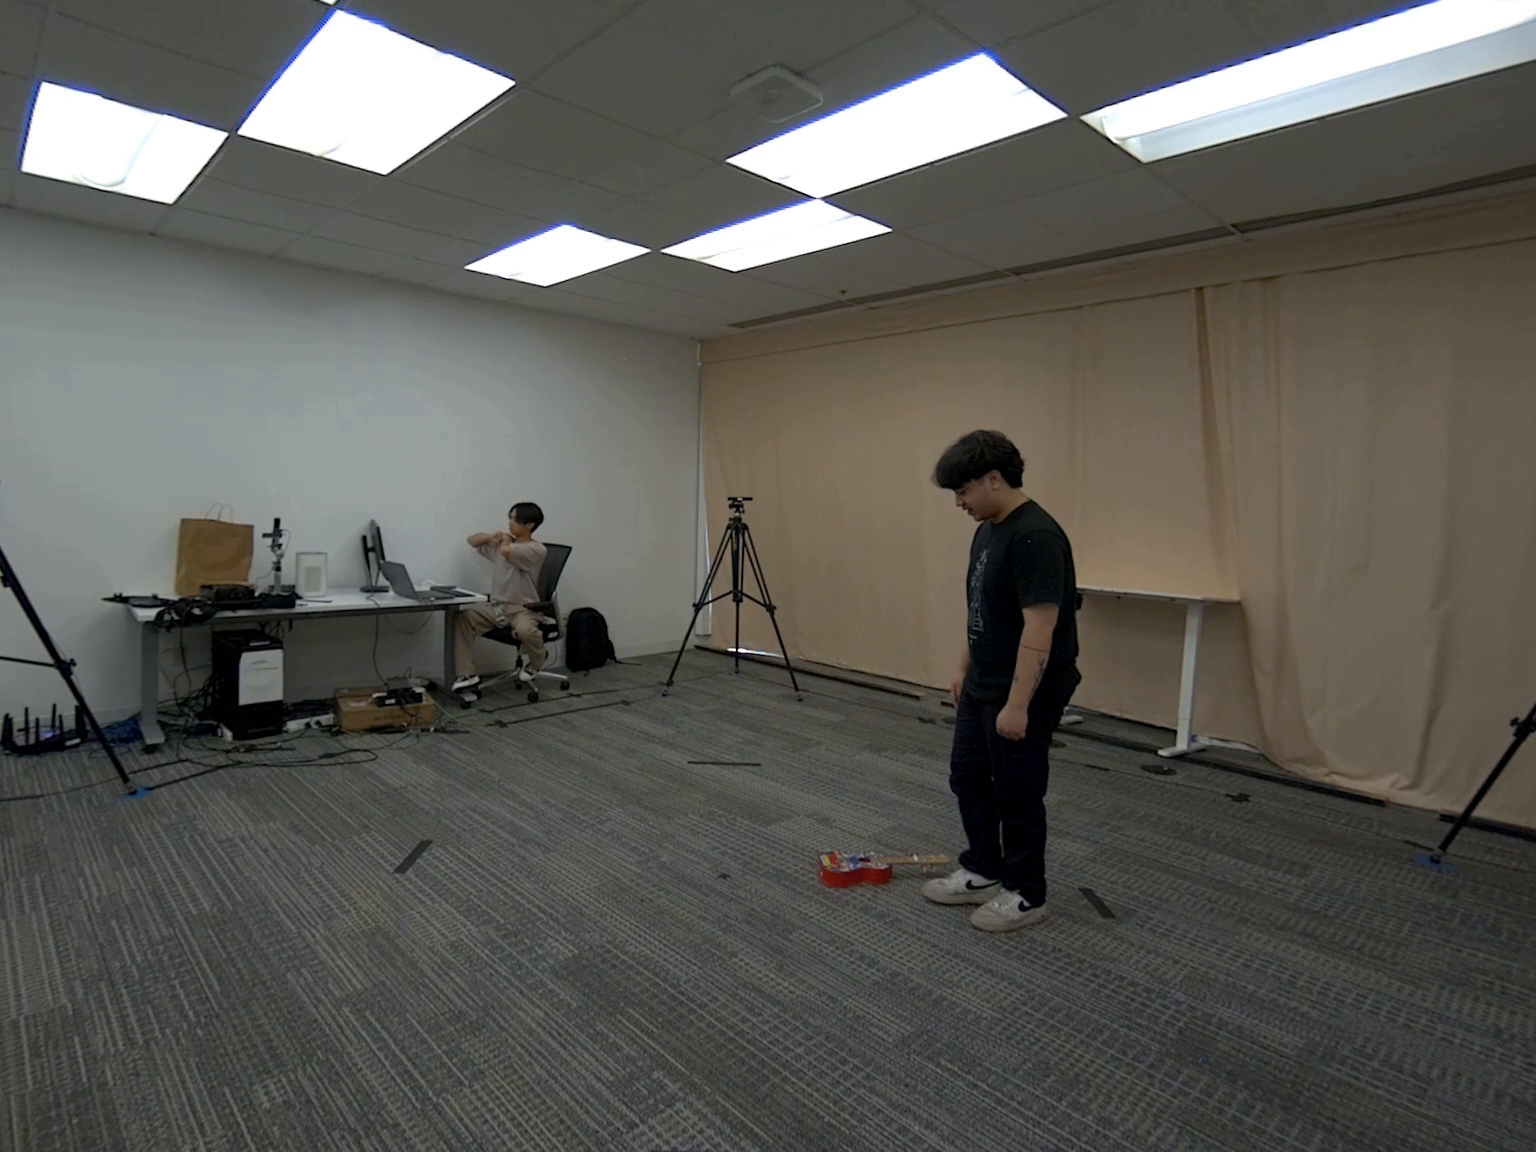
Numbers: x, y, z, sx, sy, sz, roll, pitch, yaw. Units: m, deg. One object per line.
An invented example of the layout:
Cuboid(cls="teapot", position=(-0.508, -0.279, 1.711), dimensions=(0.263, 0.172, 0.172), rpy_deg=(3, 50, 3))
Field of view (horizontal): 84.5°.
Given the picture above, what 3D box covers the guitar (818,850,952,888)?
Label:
Cuboid(cls="guitar", position=(0.427, 1.084, 3.110), dimensions=(0.499, 0.070, 0.193), rpy_deg=(1, 4, 3))
